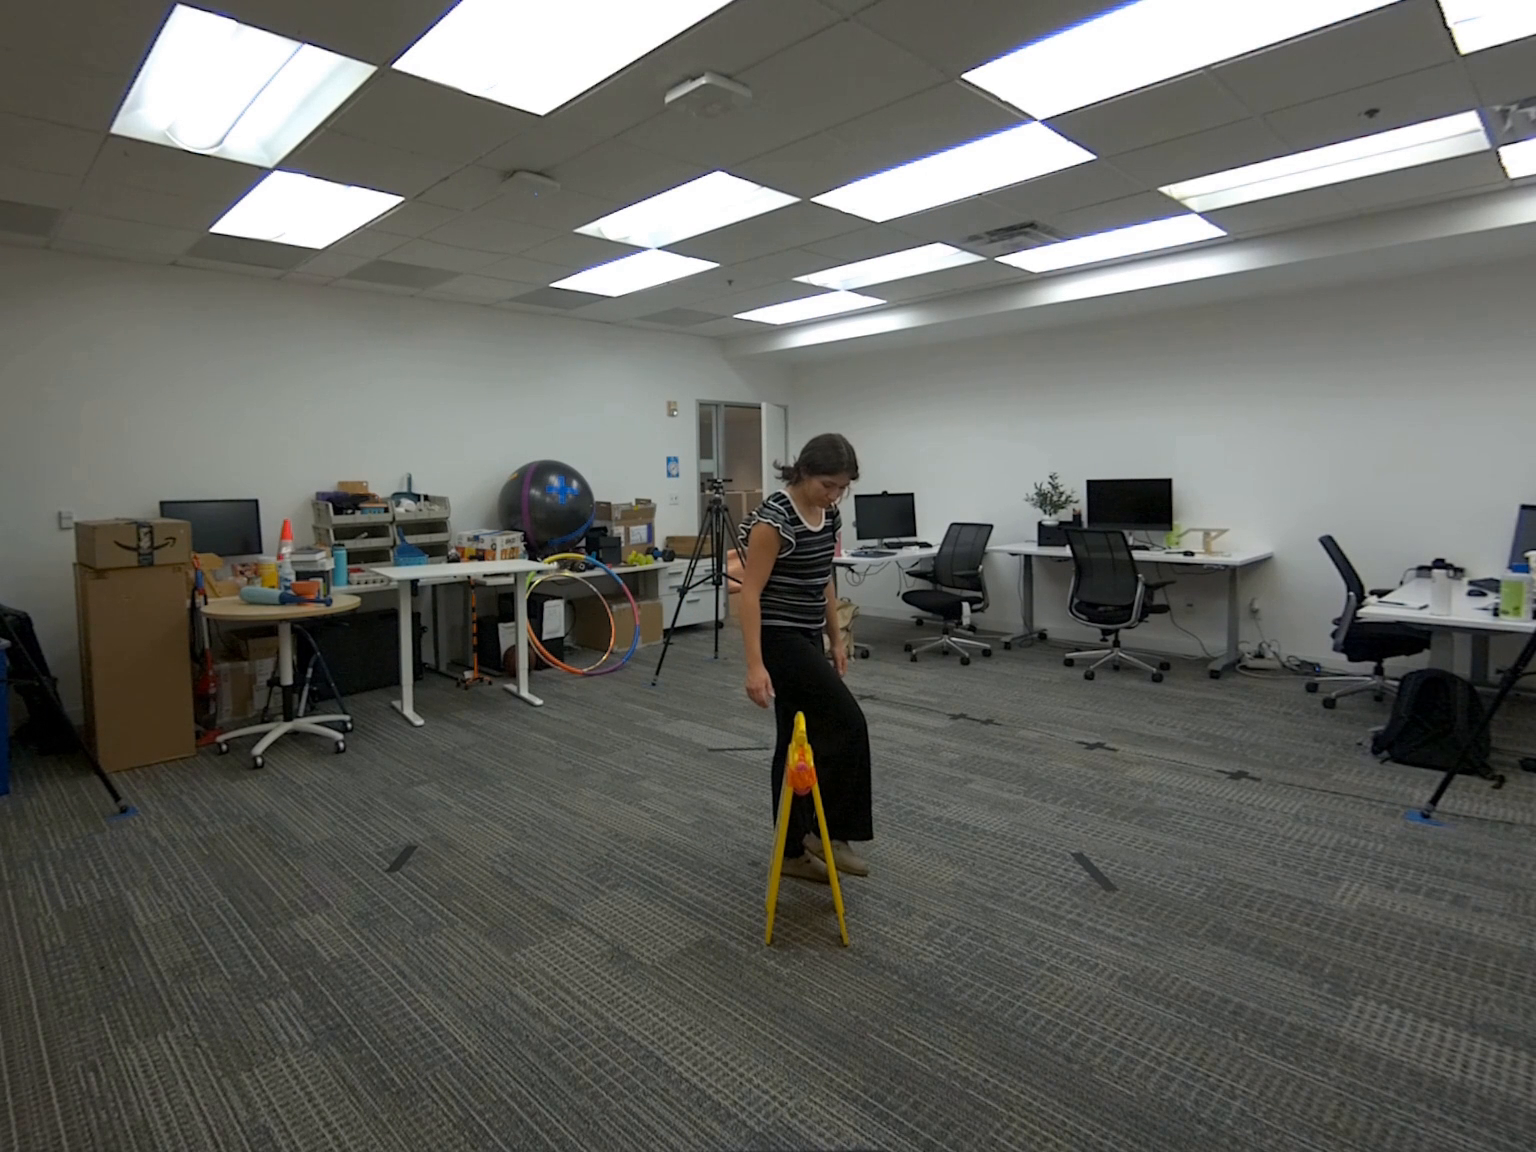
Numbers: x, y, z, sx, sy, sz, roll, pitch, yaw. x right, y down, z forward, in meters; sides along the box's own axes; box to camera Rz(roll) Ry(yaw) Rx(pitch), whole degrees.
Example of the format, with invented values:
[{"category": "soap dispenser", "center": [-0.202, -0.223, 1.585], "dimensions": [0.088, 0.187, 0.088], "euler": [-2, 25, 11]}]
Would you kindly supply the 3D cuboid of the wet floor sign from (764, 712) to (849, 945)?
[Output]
[{"category": "wet floor sign", "center": [0.105, 0.772, 2.664], "dimensions": [0.290, 0.644, 0.282], "euler": [-2, 3, 1]}]
